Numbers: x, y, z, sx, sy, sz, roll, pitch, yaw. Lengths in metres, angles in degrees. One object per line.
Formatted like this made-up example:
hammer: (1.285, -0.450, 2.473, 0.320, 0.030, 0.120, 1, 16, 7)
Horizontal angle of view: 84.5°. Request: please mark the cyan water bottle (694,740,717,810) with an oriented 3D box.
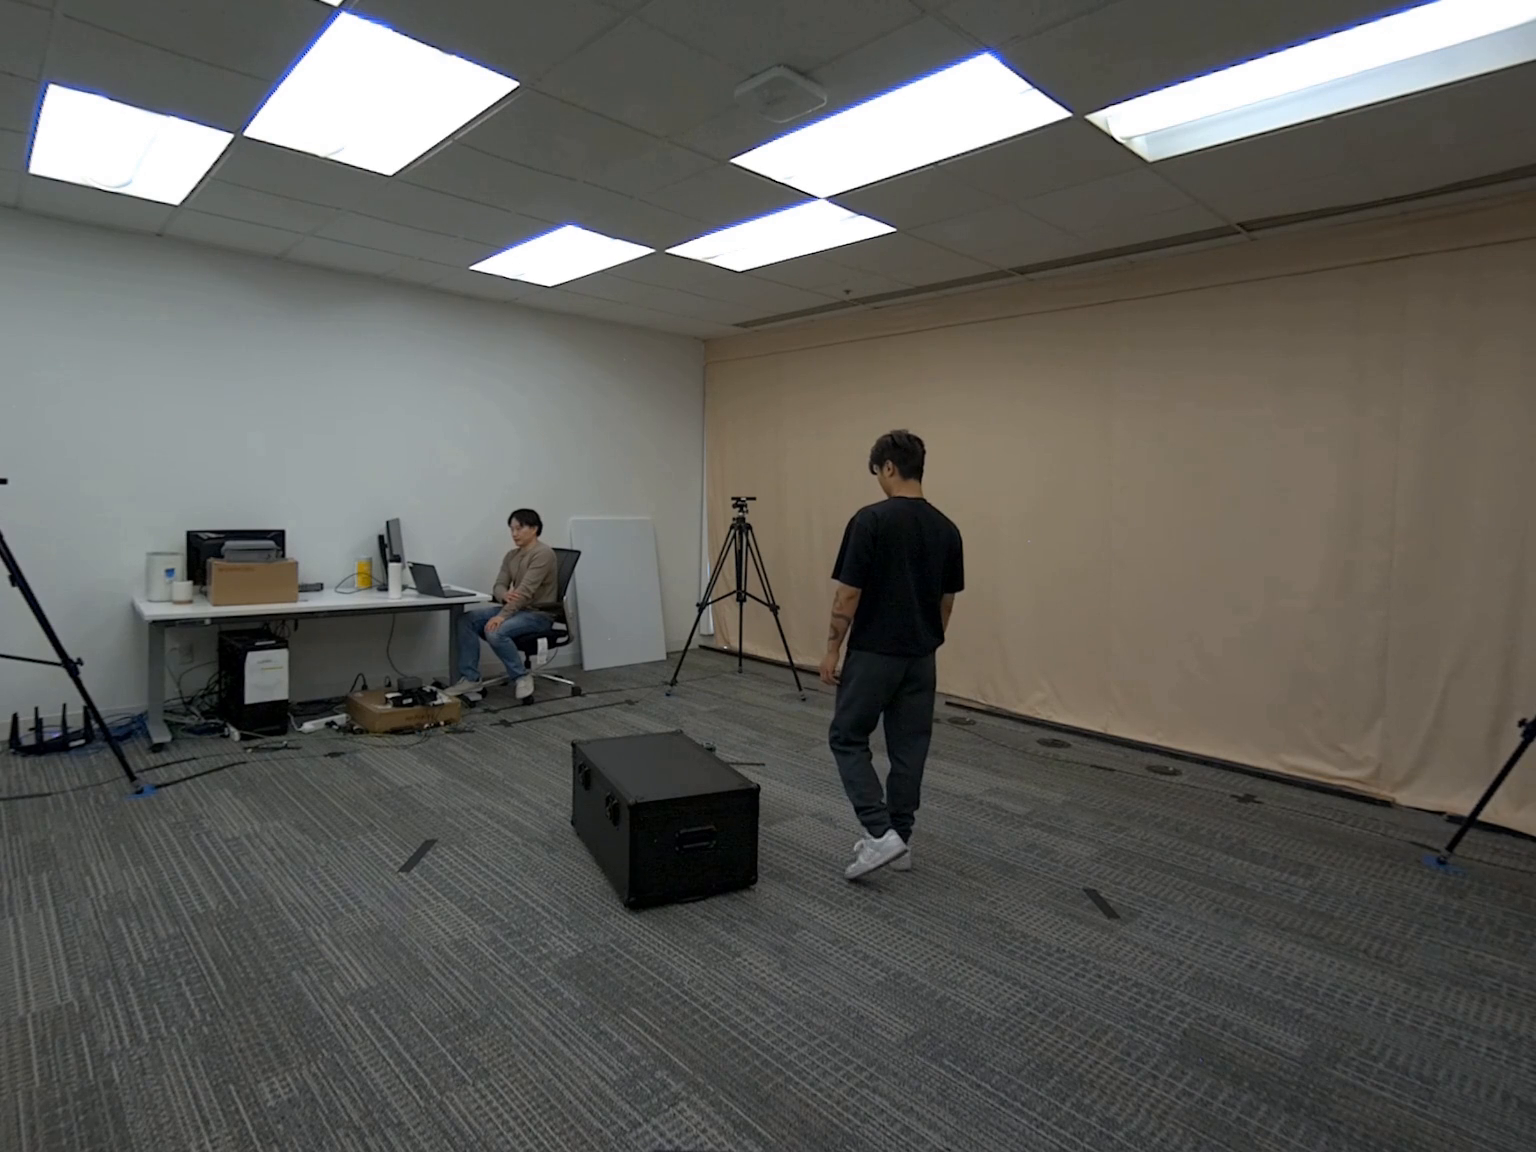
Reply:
cyan water bottle: (-0.286, 0.899, 3.838, 0.092, 0.283, 0.092, 1, 2, -1)
